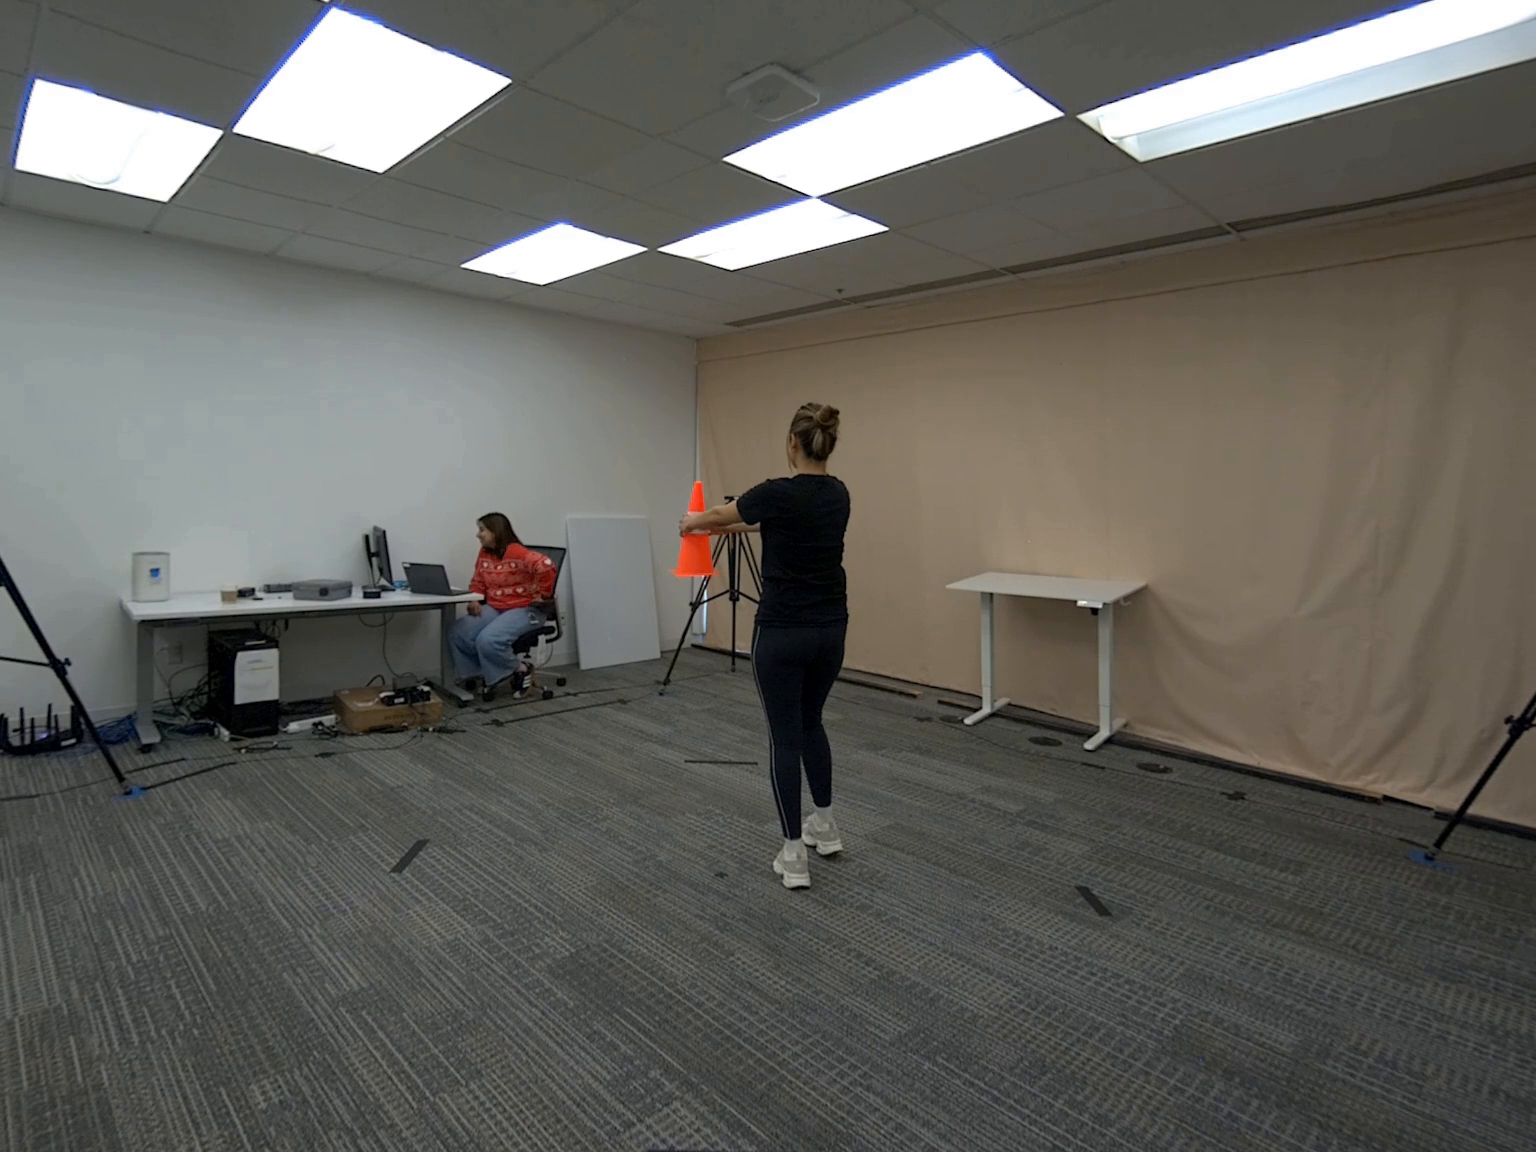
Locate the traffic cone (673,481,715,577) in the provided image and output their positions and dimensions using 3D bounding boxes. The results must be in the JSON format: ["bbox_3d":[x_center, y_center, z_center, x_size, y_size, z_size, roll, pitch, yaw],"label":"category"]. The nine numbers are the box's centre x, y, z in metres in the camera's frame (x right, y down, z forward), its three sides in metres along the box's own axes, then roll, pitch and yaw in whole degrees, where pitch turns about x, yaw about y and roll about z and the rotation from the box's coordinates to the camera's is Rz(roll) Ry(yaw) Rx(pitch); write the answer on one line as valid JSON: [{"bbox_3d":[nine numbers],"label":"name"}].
[{"bbox_3d":[-0.307,-0.204,3.535,0.200,0.381,0.209,-5,10,-43],"label":"traffic cone"}]
